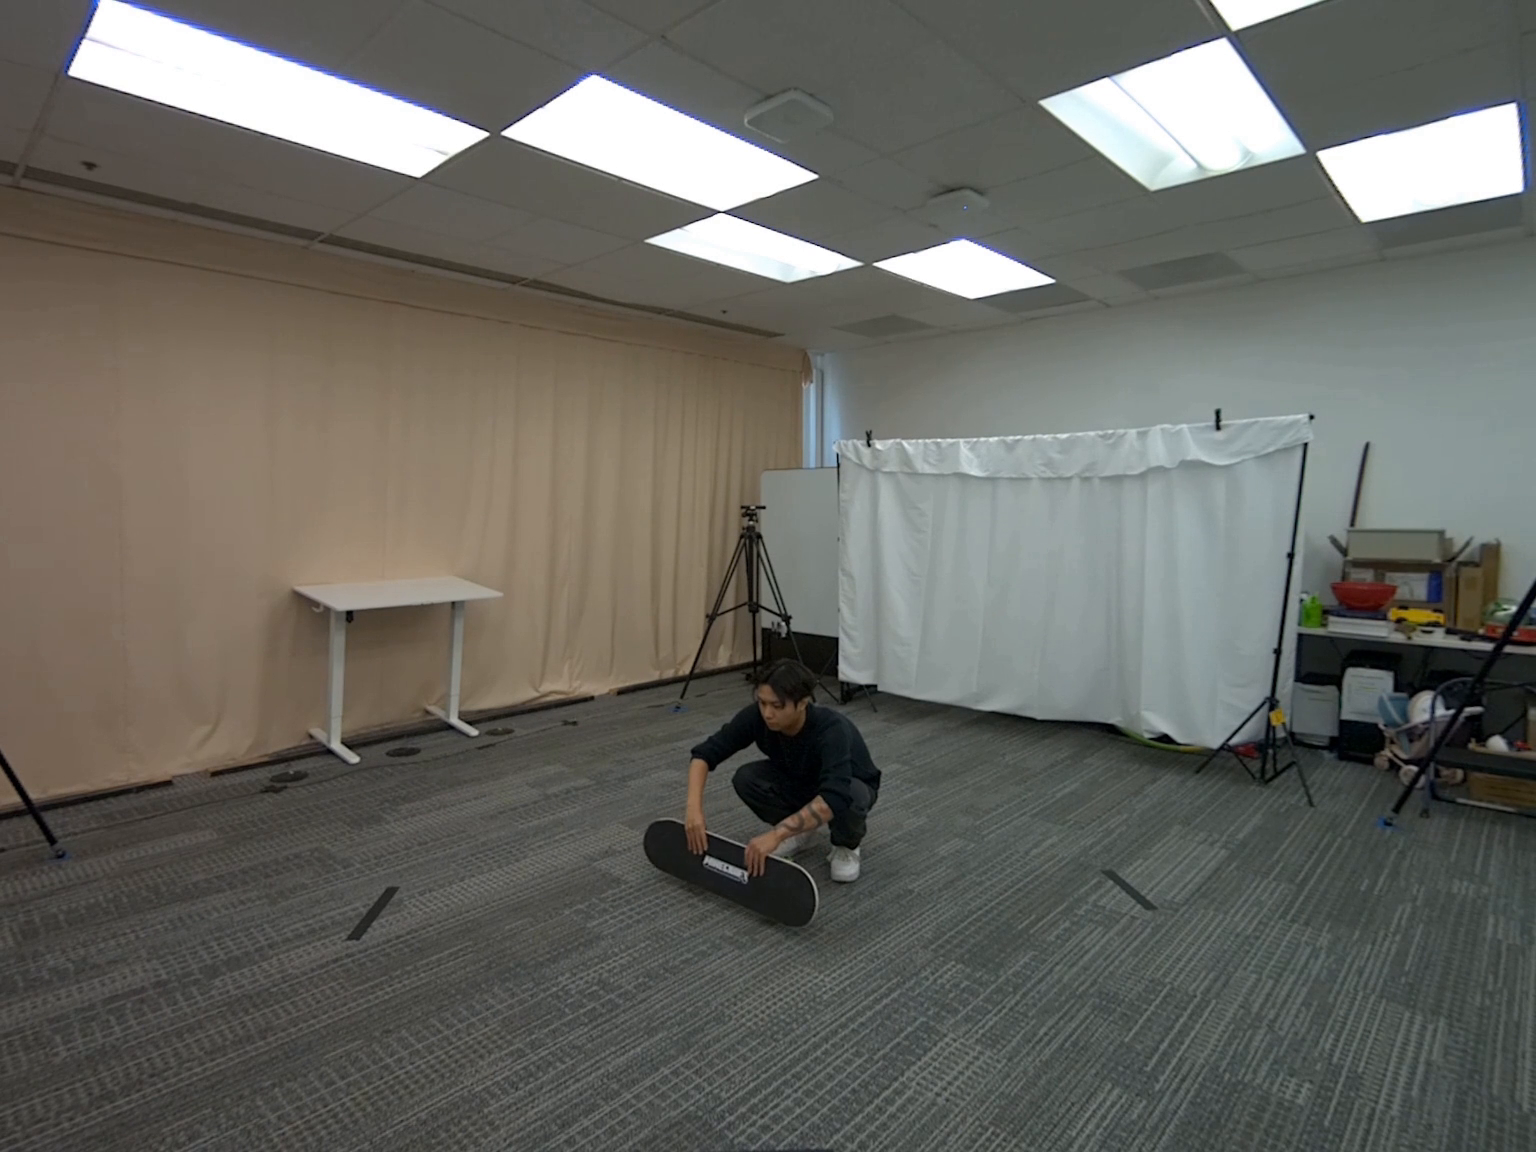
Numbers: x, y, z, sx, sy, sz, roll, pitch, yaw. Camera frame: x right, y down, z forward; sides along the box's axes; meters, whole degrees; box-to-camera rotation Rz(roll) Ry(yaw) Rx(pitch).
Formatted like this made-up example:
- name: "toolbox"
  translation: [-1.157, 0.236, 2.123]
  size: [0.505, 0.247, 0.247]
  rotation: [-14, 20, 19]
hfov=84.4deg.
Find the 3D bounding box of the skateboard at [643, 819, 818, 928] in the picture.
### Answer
- name: "skateboard"
  translation: [-0.127, 1.023, 2.940]
  size: [0.812, 0.194, 0.106]
  rotation: [6, -11, 41]
